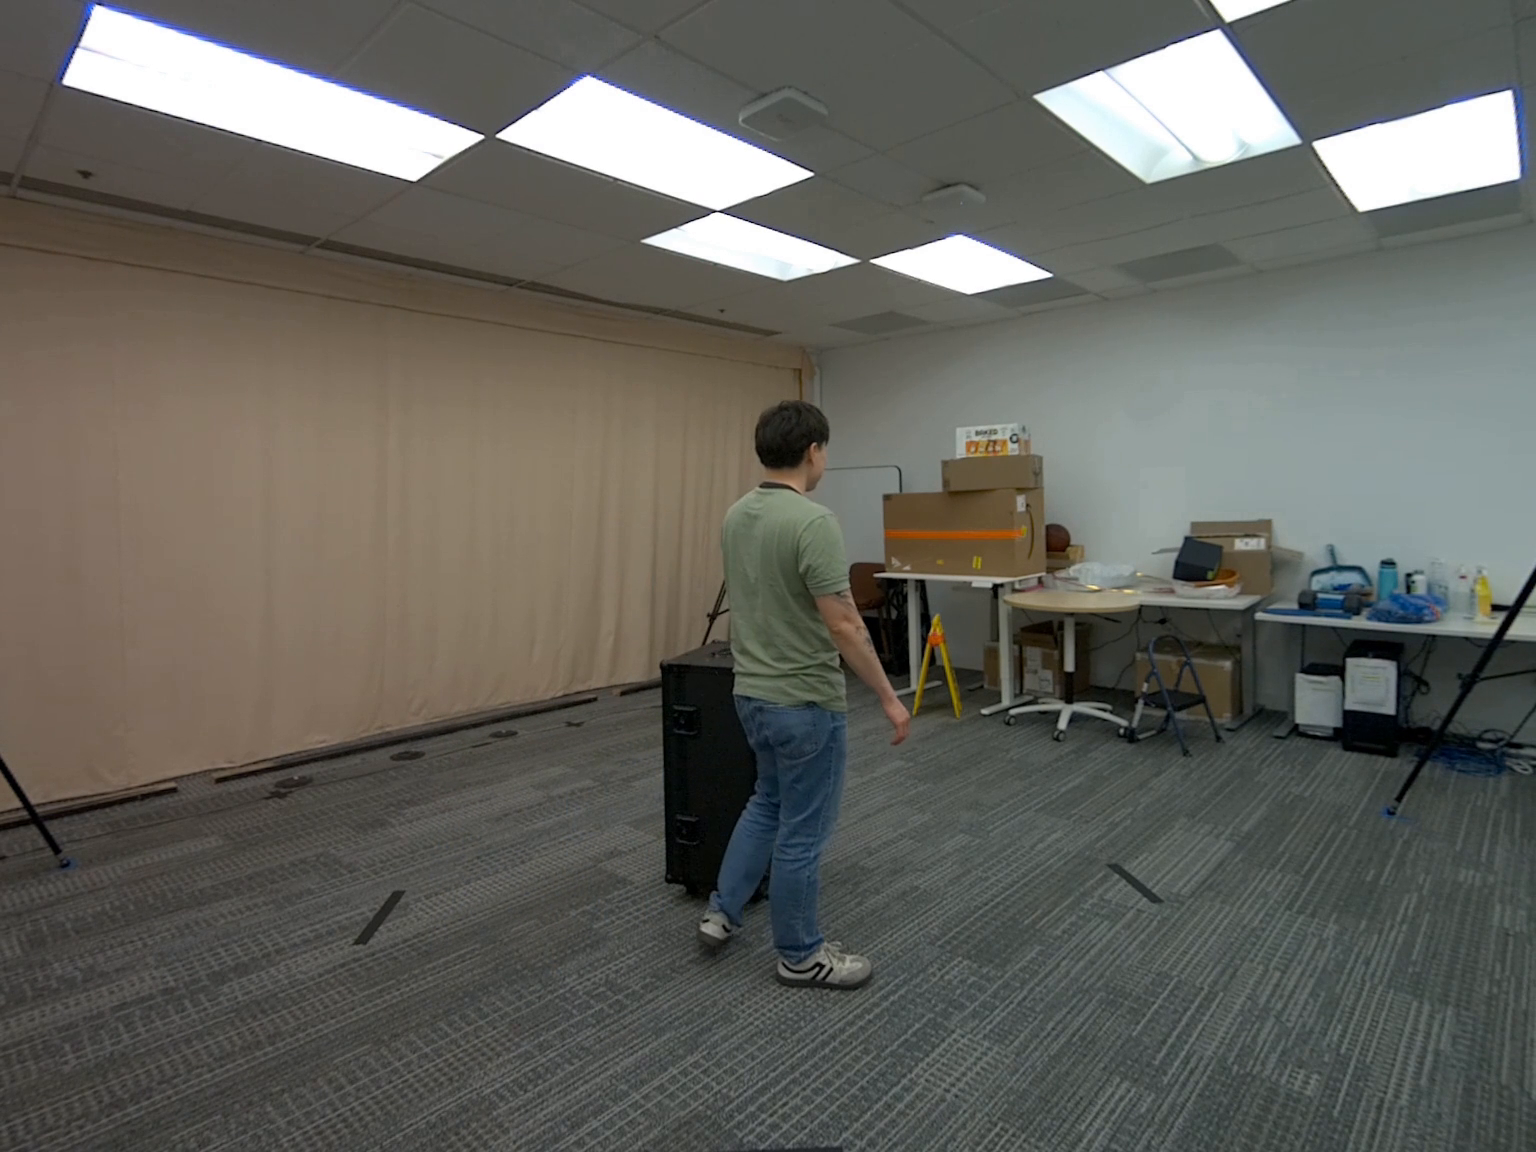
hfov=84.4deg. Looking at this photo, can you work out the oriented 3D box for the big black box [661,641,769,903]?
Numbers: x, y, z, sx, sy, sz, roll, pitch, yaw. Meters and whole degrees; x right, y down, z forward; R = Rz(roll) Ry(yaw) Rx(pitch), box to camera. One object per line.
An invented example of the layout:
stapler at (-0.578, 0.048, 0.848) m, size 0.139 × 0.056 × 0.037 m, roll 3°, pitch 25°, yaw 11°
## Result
big black box at (-0.112, 0.702, 3.095) m, size 0.405 × 0.859 × 0.511 m, roll 1°, pitch 4°, yaw 21°
